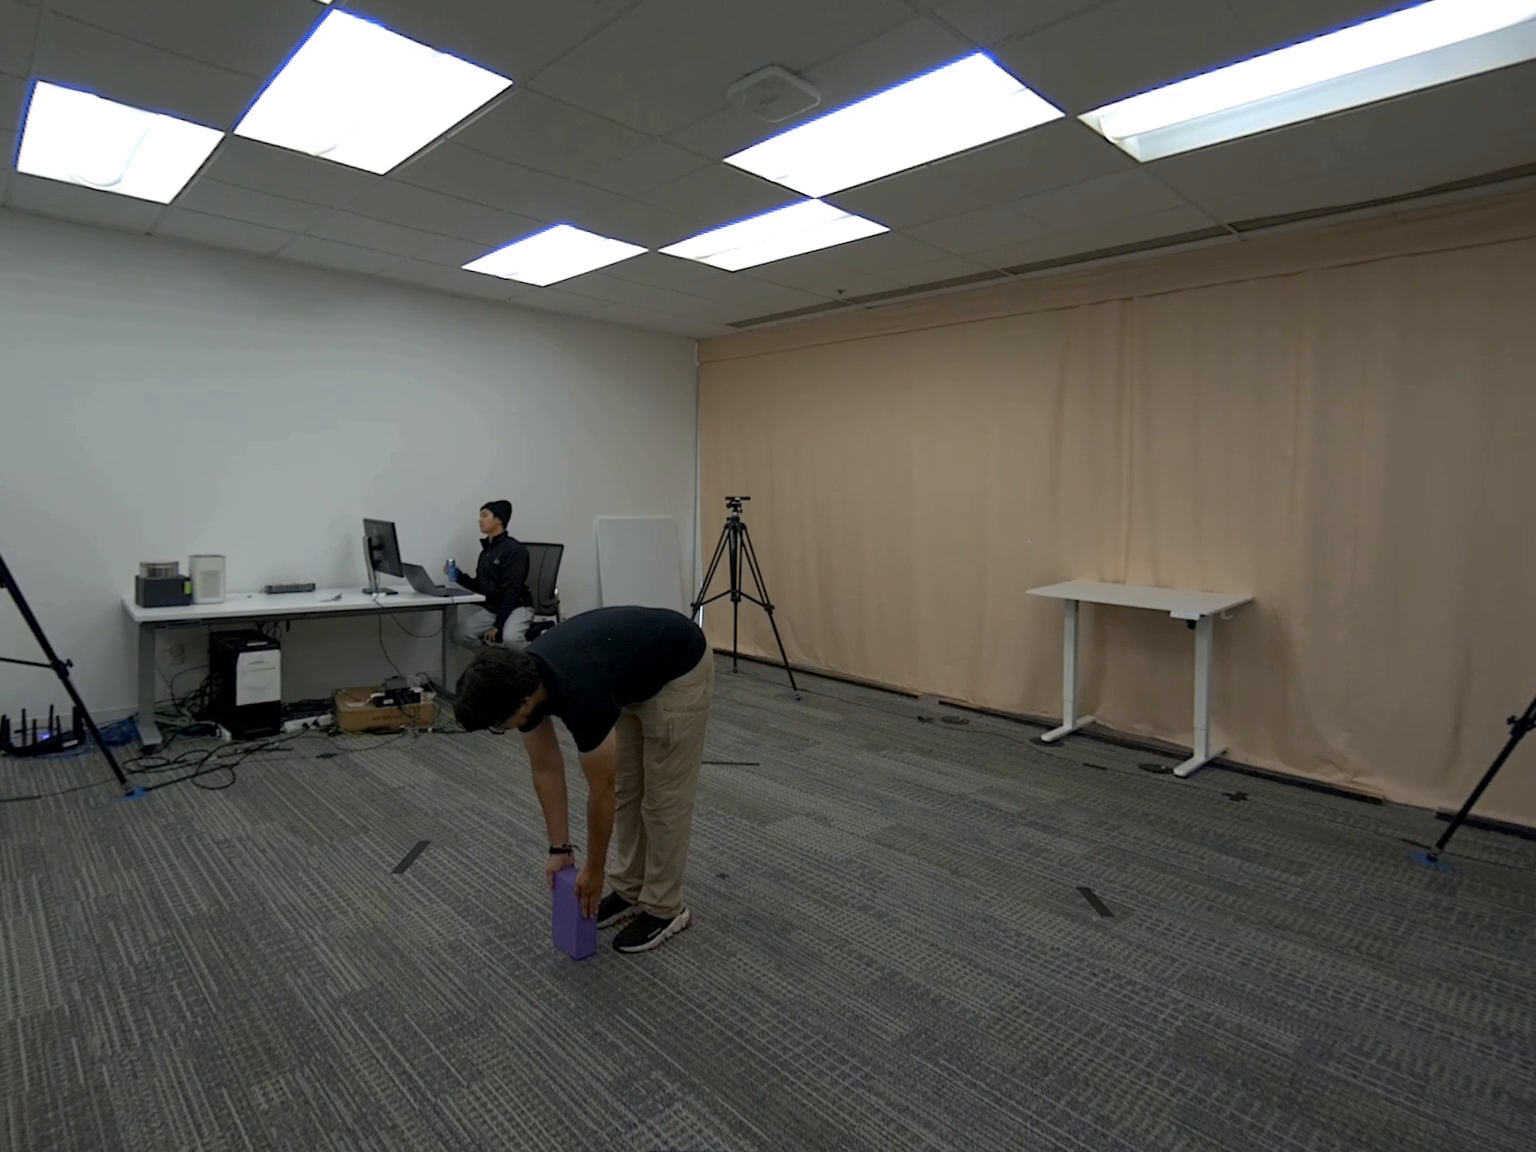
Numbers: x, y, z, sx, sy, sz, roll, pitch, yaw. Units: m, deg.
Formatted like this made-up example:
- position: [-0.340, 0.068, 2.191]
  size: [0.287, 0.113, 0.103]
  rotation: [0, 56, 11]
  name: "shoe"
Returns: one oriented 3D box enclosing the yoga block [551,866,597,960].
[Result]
- position: [-0.599, 1.034, 2.572]
  size: [0.075, 0.229, 0.153]
  rotation: [-3, 5, -42]
  name: "yoga block"
